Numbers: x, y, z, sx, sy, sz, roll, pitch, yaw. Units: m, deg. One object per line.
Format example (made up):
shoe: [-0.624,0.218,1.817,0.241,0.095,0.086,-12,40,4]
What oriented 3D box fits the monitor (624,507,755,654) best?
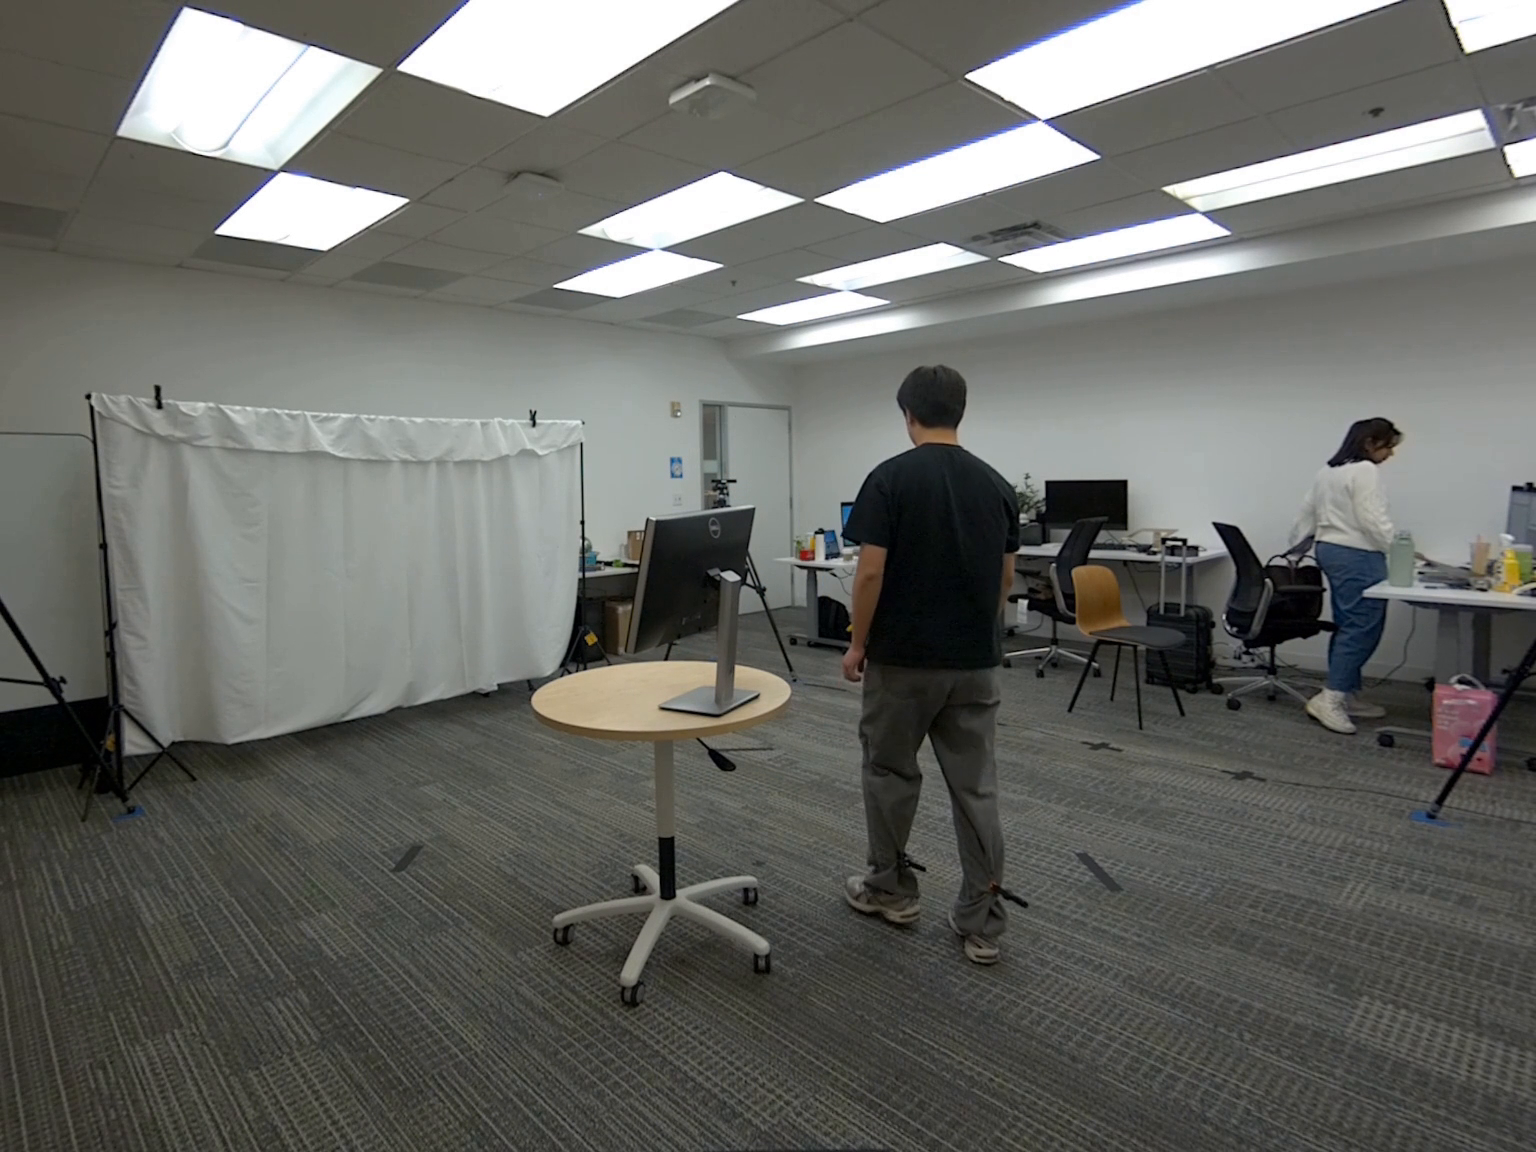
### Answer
monitor: [-0.168,0.099,2.387,0.228,0.564,0.550,-1,5,30]
